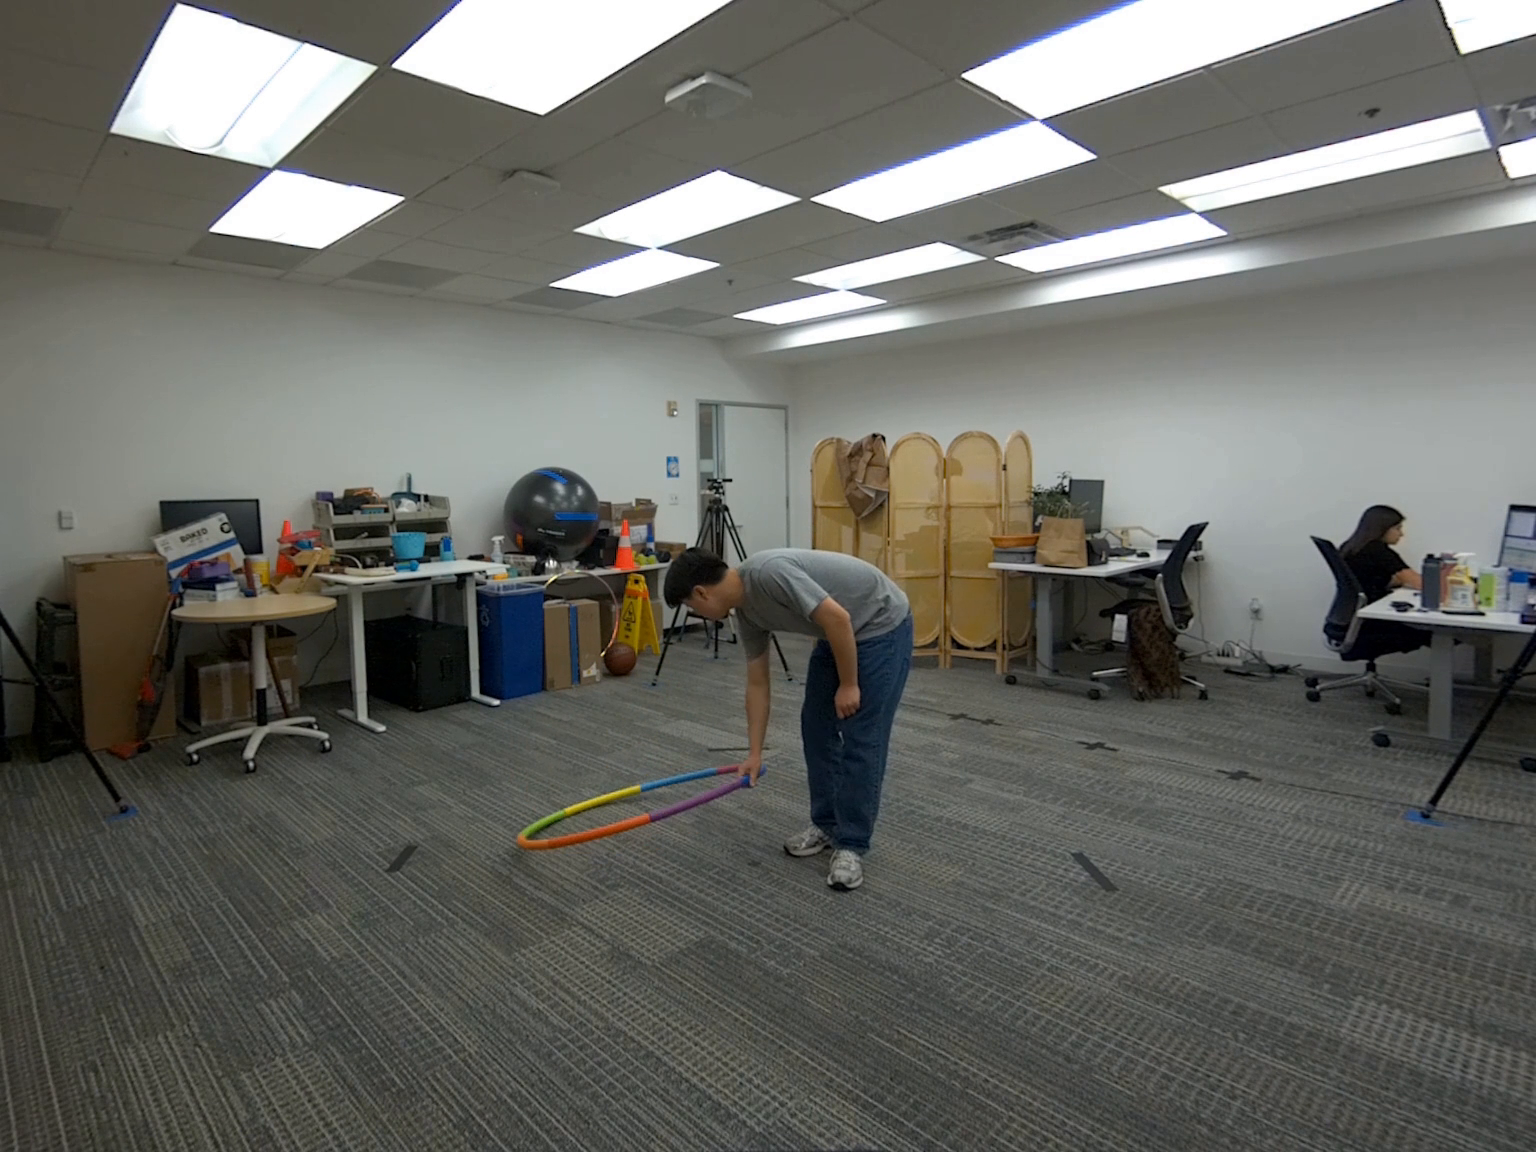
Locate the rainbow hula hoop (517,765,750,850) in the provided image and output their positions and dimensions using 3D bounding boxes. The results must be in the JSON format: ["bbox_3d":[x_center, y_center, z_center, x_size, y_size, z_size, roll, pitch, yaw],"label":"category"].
[{"bbox_3d":[-0.481,0.872,3.298,0.976,0.036,0.973,-15,-5,-3],"label":"rainbow hula hoop"}]
